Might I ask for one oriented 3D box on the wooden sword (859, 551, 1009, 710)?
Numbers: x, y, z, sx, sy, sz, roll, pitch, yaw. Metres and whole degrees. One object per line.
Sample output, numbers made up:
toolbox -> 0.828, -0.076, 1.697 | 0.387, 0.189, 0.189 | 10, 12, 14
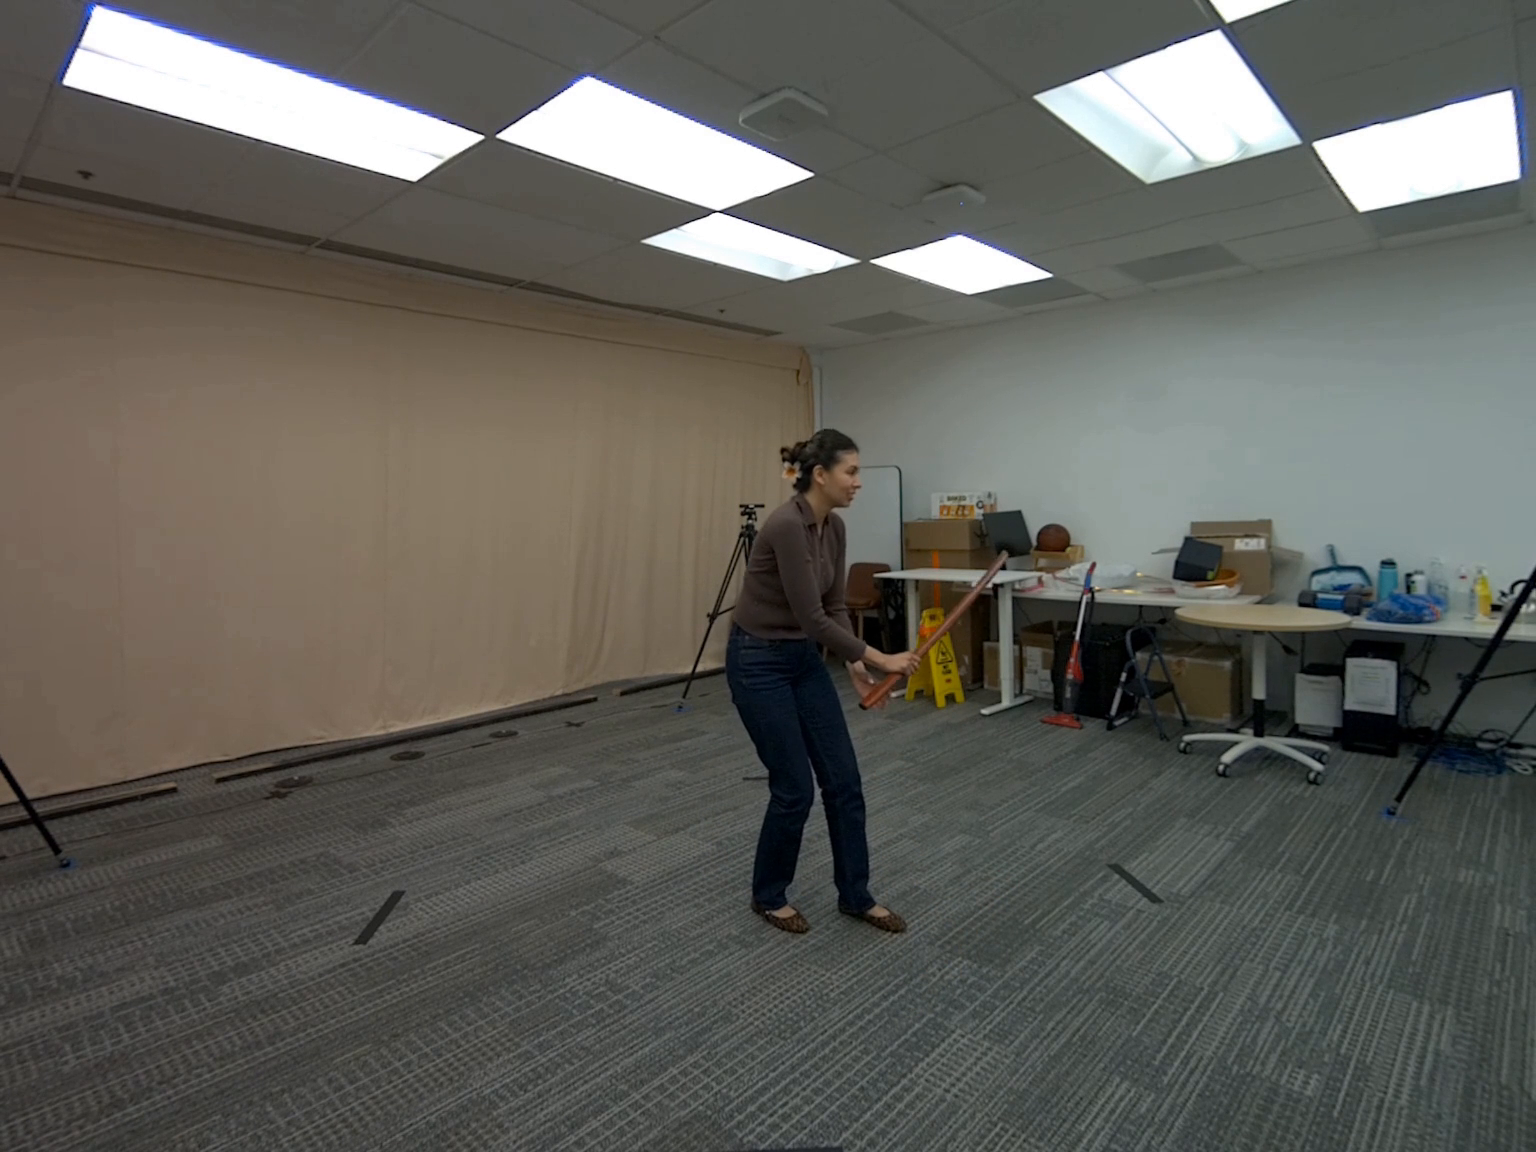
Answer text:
wooden sword -> 0.590, 0.175, 2.806 | 0.052, 0.024, 1.011 | 38, 49, 15
